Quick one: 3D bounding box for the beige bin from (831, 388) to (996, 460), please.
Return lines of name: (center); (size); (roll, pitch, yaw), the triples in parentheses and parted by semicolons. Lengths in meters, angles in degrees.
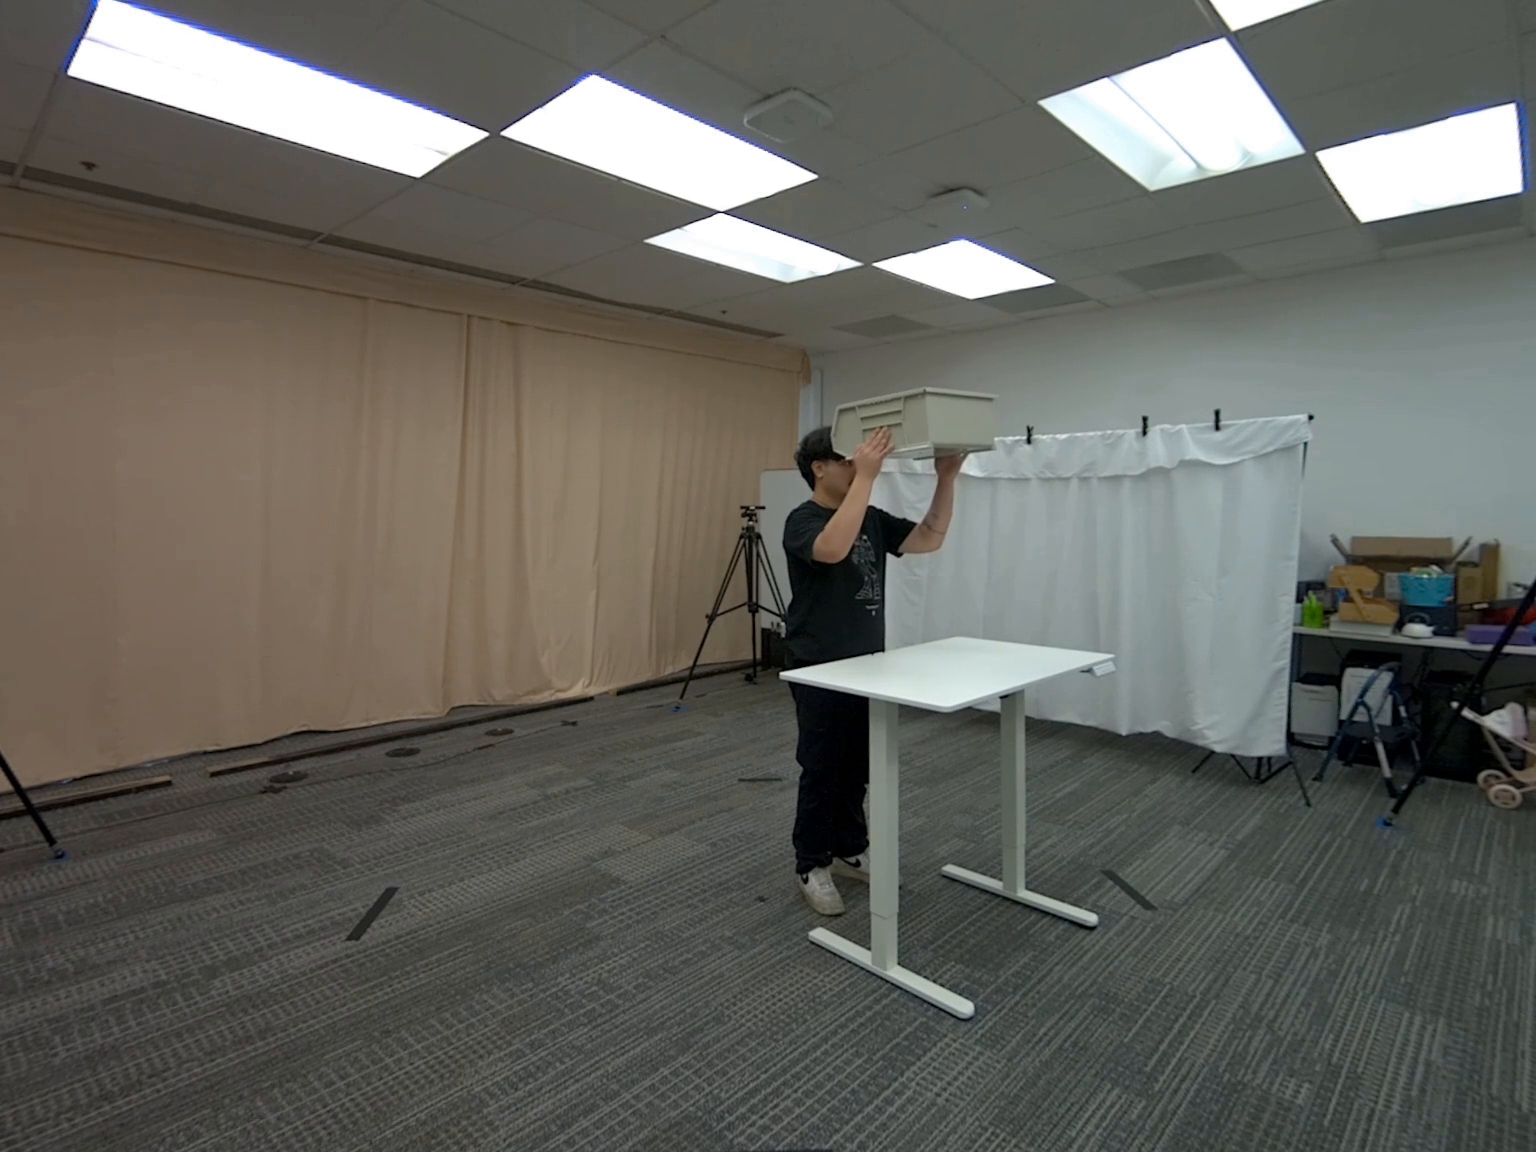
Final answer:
beige bin: (0.494, -0.483, 2.777); (0.410, 0.189, 0.389); (-7, 4, -45)
